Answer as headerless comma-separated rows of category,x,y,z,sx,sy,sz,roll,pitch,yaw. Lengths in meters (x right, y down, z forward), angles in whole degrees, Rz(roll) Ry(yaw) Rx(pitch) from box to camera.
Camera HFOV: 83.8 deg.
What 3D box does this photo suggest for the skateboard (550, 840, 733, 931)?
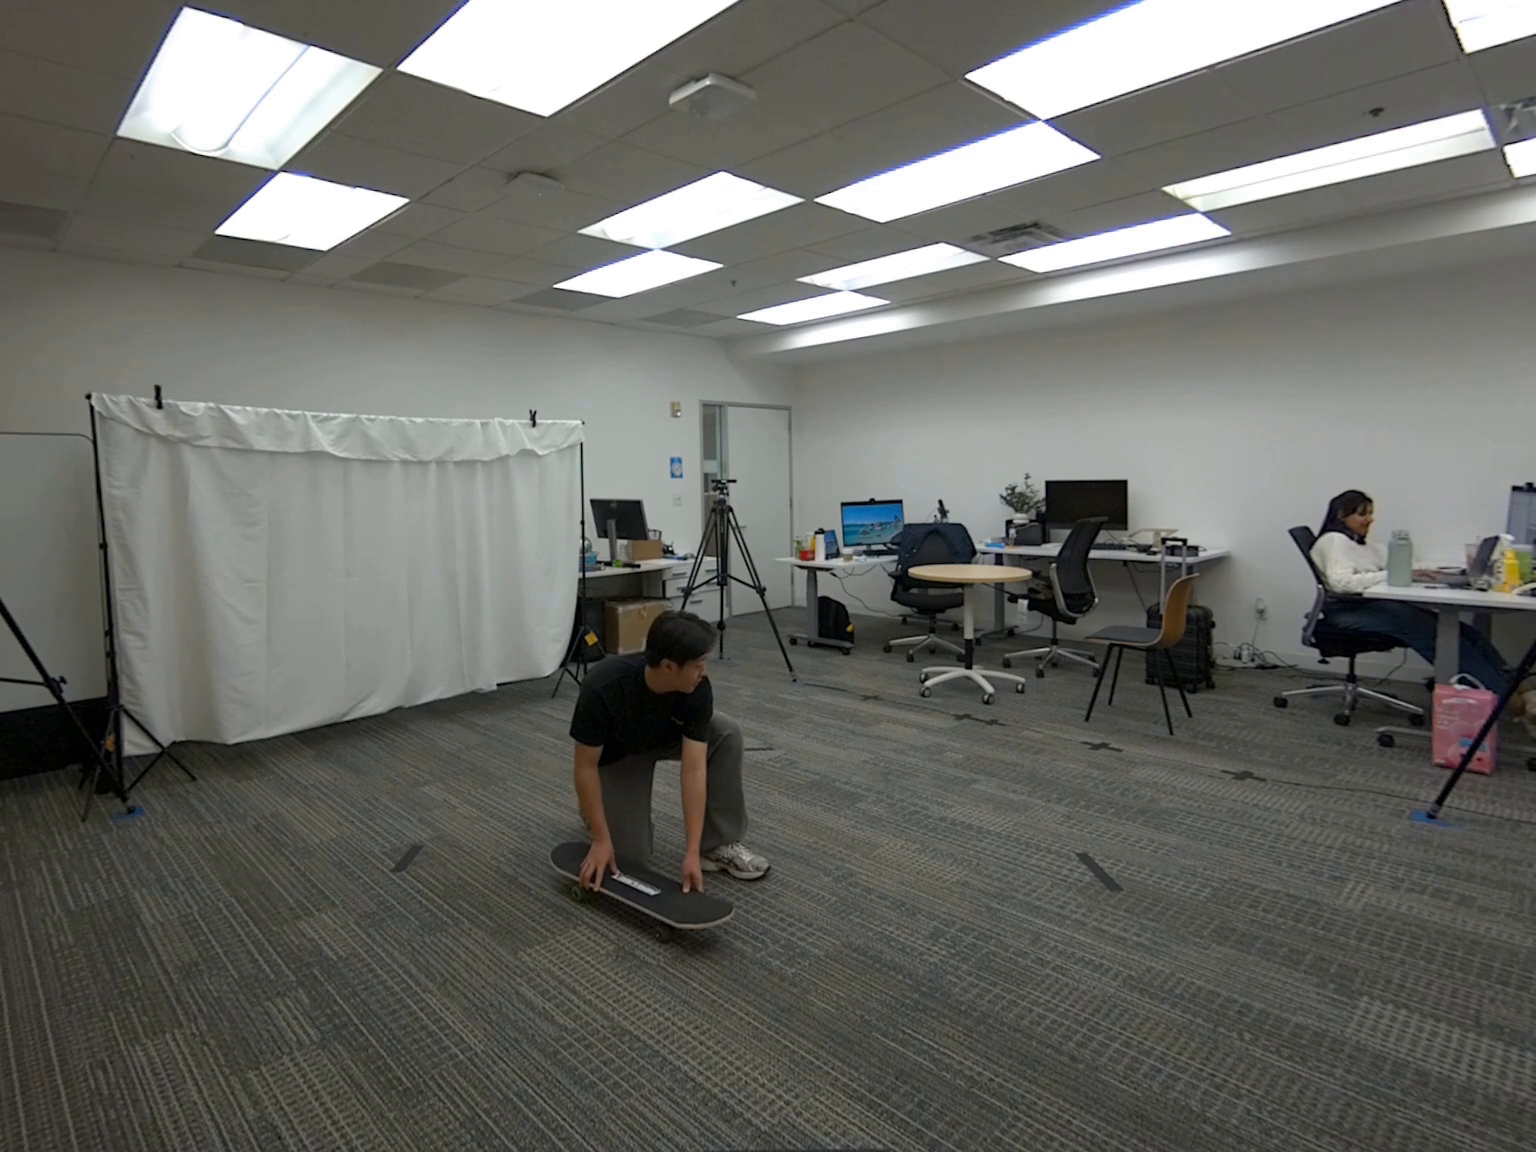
skateboard,-0.419,1.037,2.788,0.809,0.110,0.189,4,9,40
